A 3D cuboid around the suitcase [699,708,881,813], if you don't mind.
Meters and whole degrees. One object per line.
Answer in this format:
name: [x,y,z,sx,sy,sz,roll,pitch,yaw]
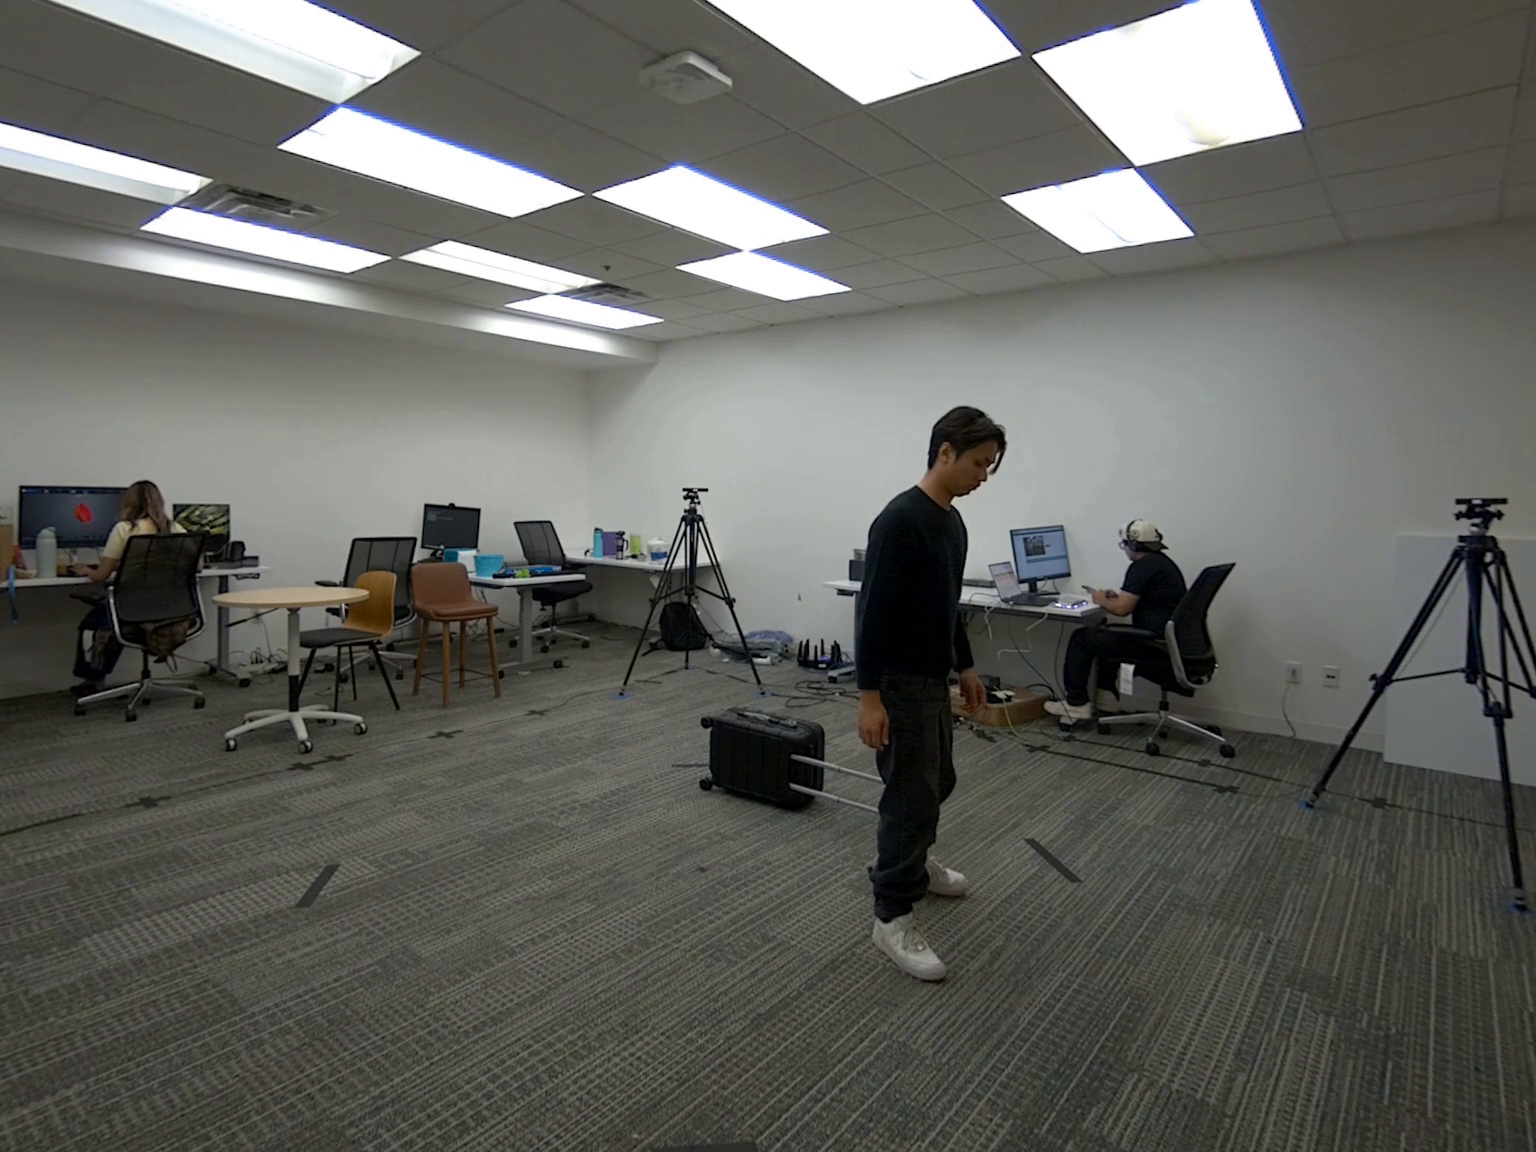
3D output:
suitcase: [0.144,0.827,3.749,1.010,0.383,0.250,5,5,35]
